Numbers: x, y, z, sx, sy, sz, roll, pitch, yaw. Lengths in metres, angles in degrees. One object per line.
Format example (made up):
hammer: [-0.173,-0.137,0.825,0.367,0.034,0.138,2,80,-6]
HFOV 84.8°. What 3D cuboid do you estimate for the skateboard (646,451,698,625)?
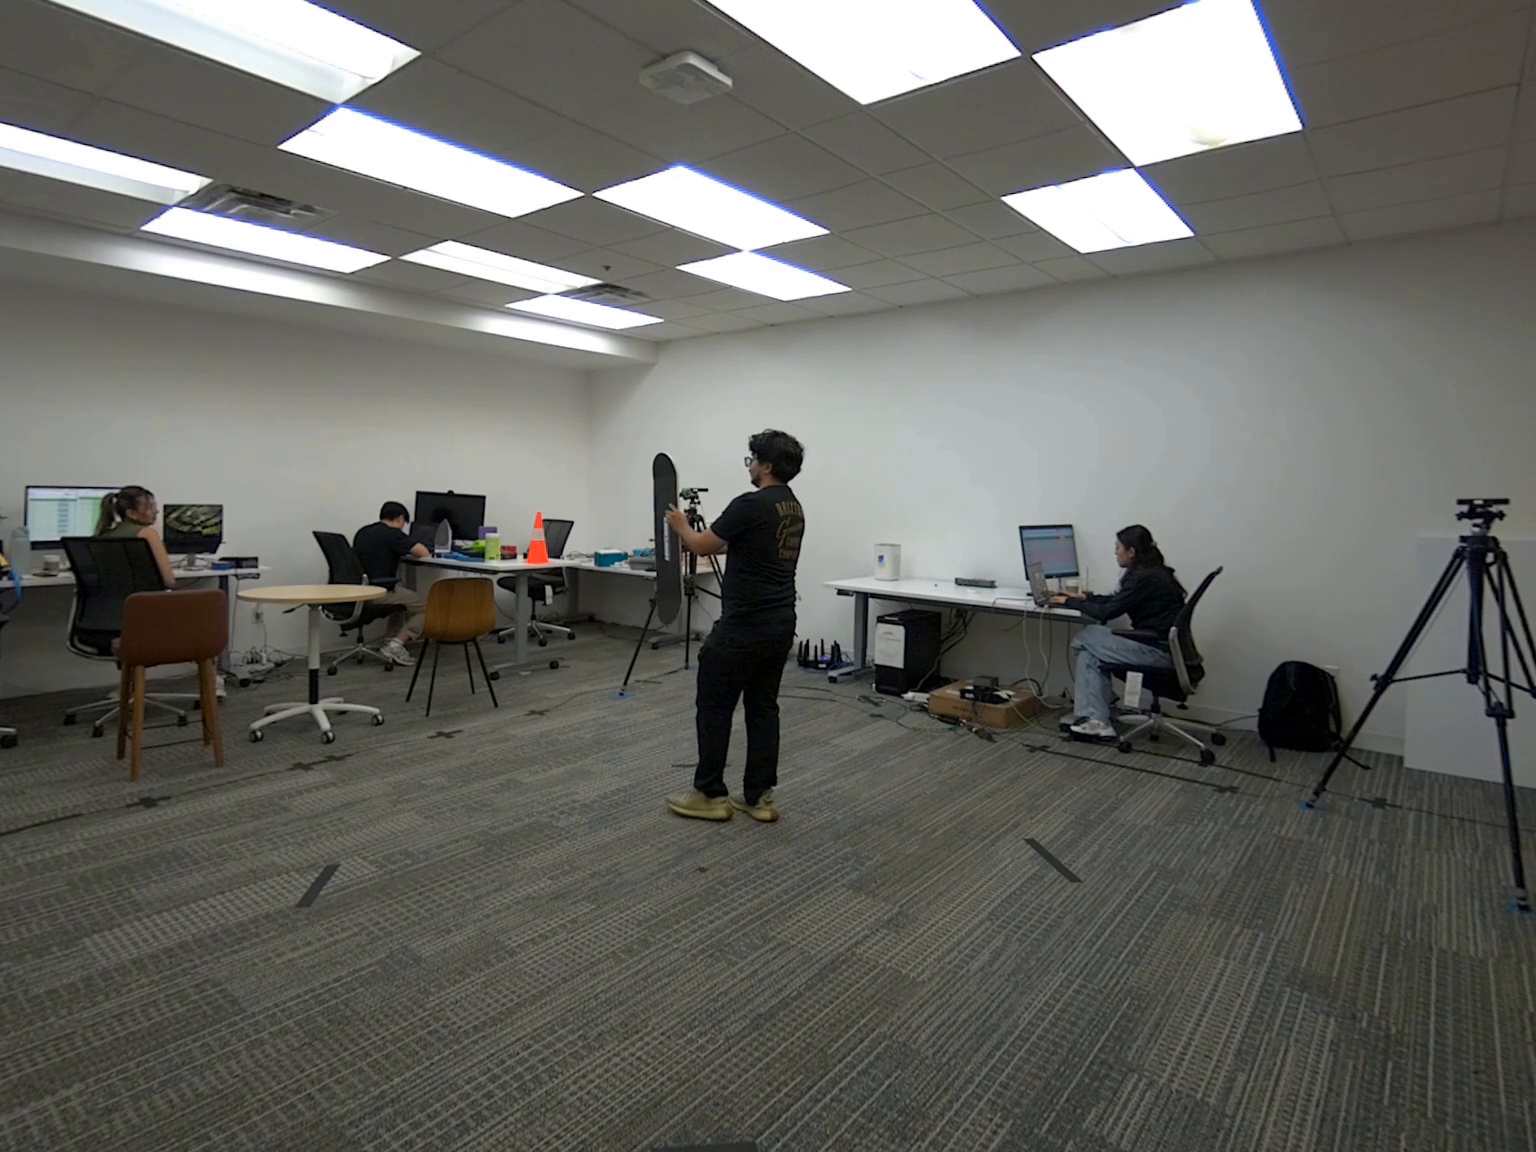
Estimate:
skateboard: [-0.451,-0.174,3.915,0.107,0.789,0.198,0,-6,-39]
